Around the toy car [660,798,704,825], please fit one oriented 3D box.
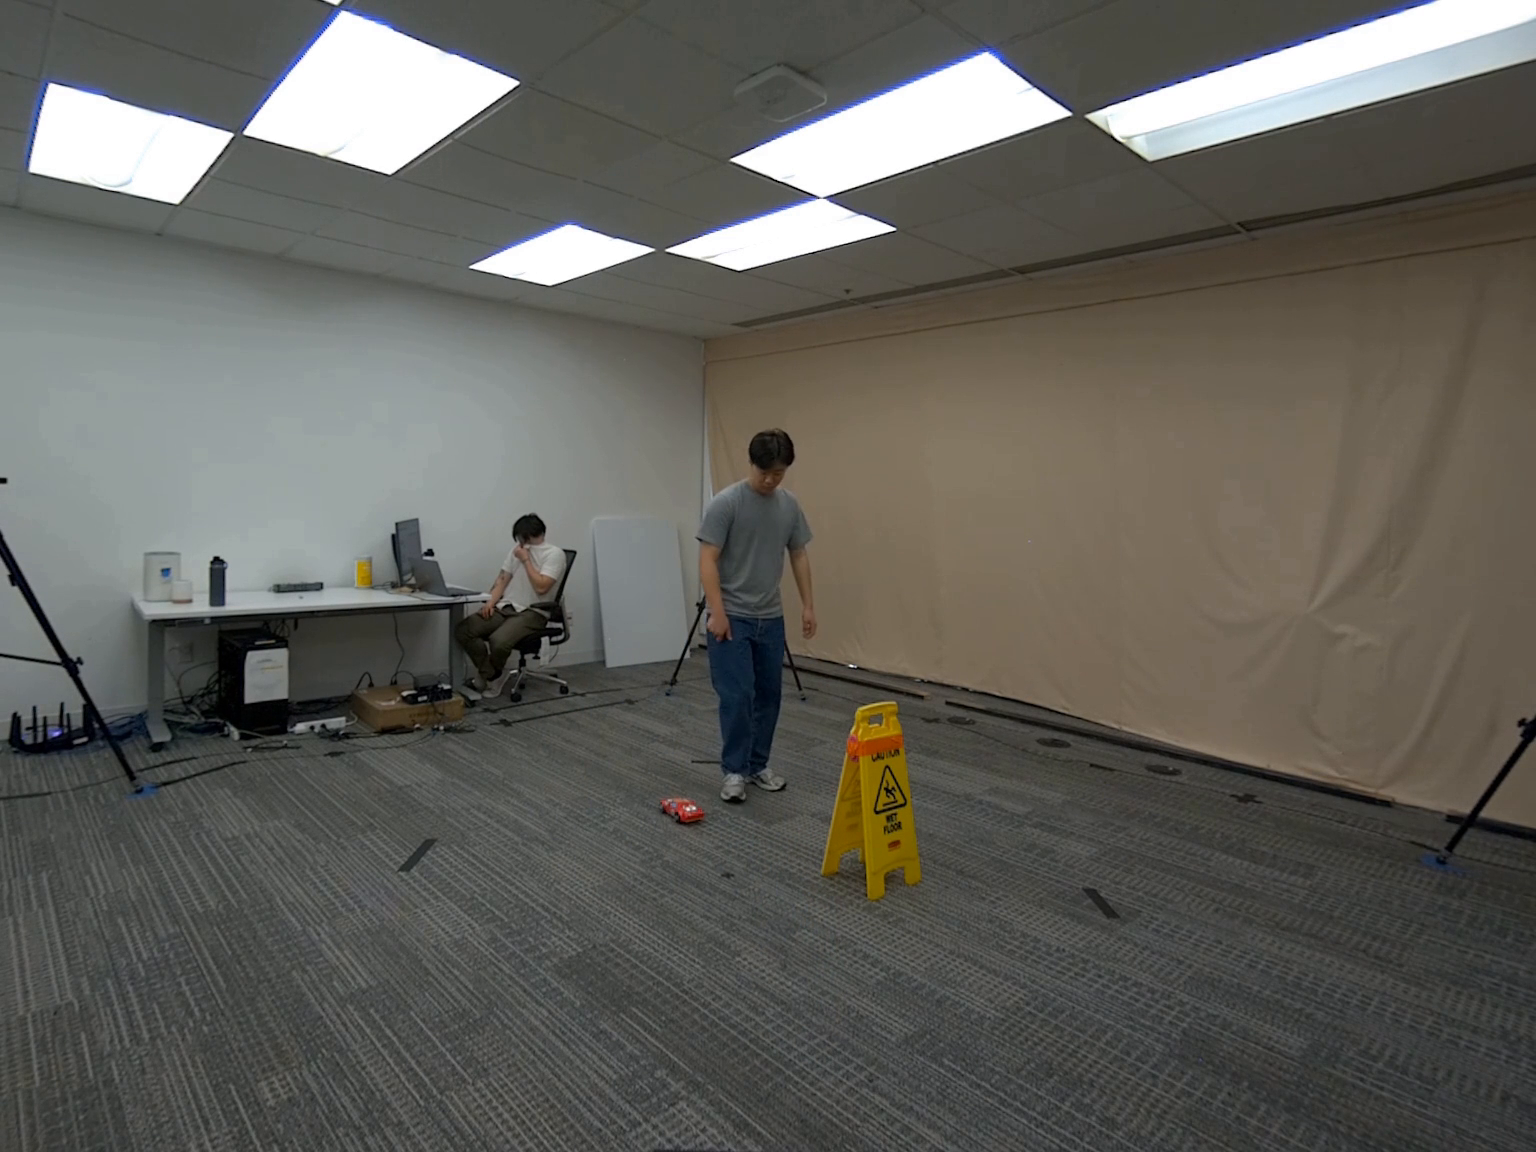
[{"bbox_3d":[-0.382,1.019,3.661,0.127,0.083,0.259,-1,-6,-34],"label":"toy car"}]
